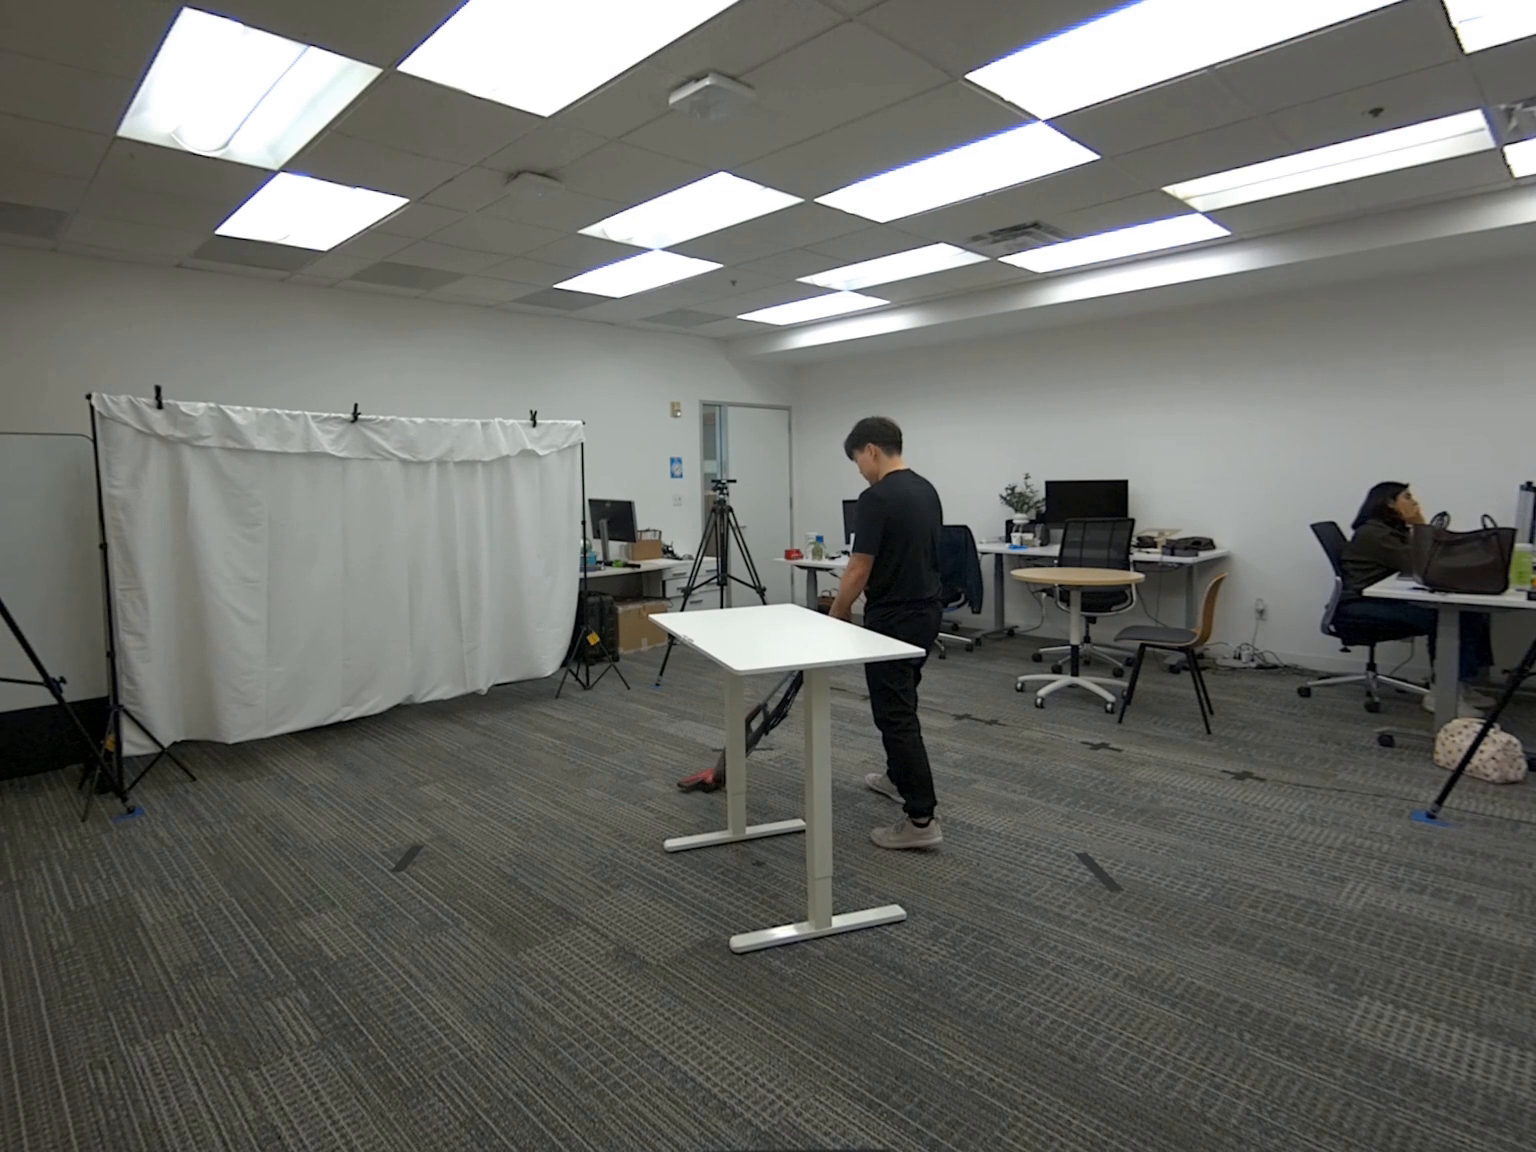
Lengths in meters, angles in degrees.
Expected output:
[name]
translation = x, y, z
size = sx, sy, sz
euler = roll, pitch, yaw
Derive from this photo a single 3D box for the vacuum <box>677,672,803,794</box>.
[vacuum]
translation = -0.001, 0.598, 3.669
size = 1.046, 0.147, 0.248
euler = -51, -16, 28
